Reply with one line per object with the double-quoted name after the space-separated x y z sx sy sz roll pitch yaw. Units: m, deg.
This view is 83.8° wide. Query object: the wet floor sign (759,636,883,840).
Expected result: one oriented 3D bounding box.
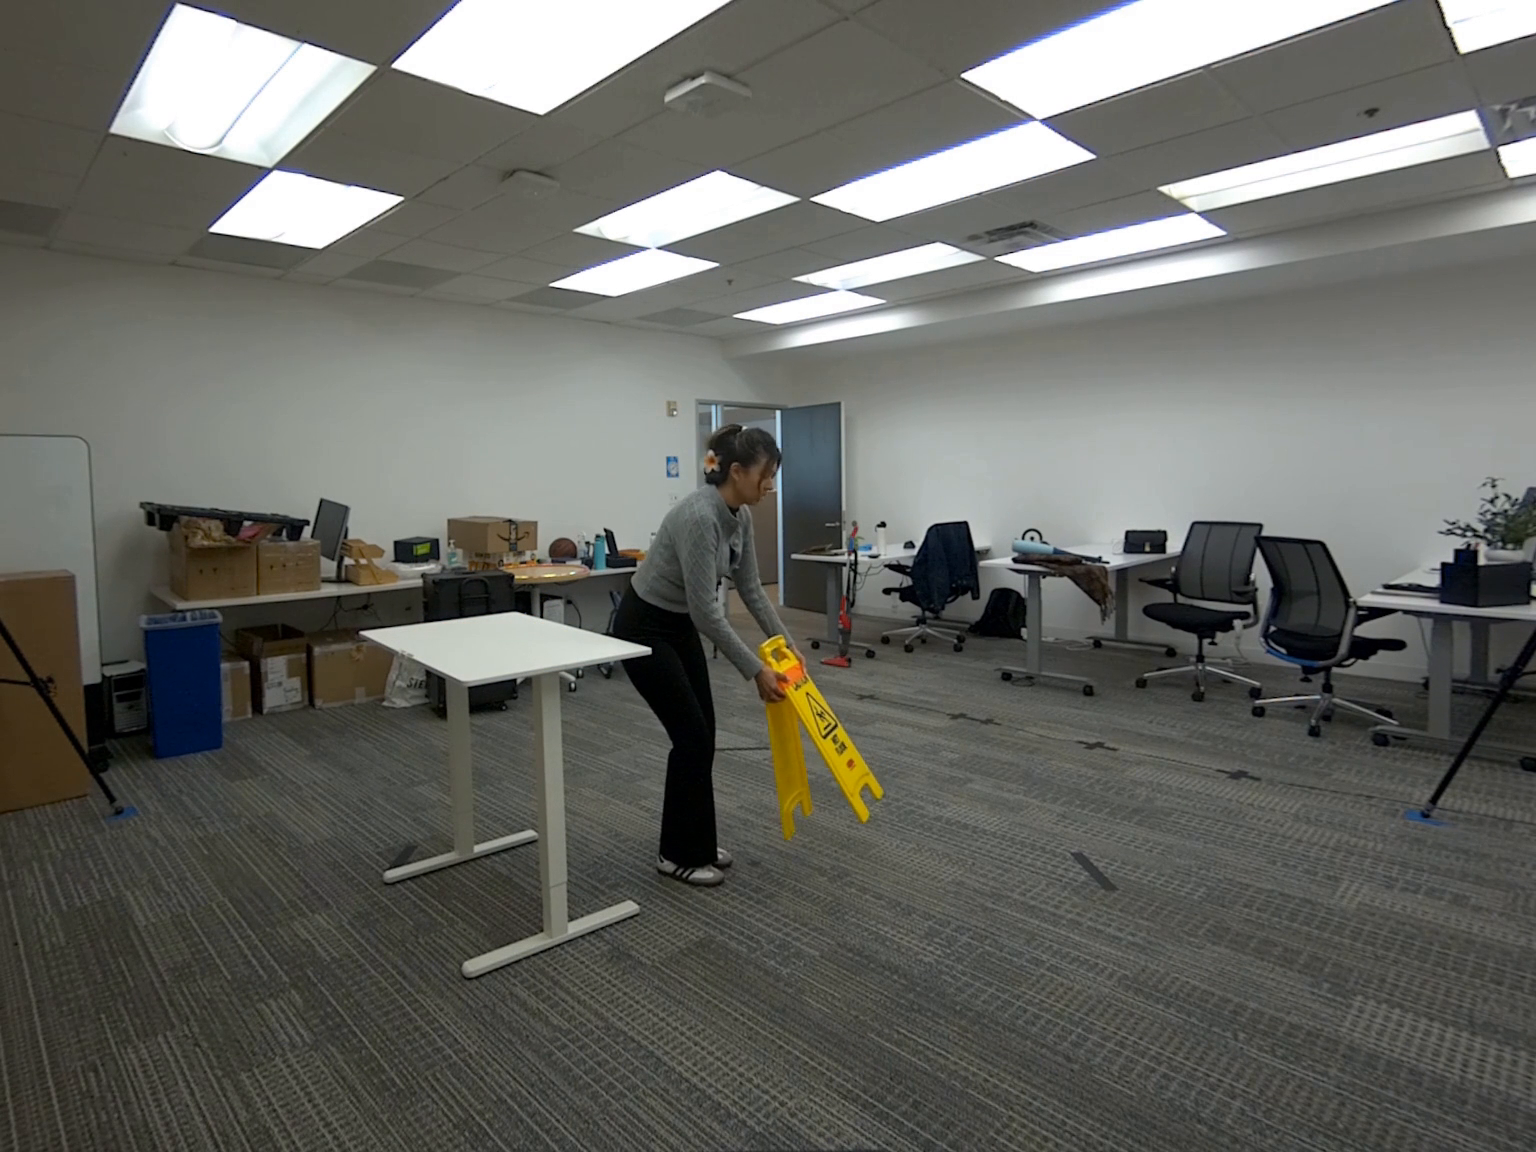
0.121 0.522 2.958 0.293 0.648 0.278 -21 -2 23 "wet floor sign"
